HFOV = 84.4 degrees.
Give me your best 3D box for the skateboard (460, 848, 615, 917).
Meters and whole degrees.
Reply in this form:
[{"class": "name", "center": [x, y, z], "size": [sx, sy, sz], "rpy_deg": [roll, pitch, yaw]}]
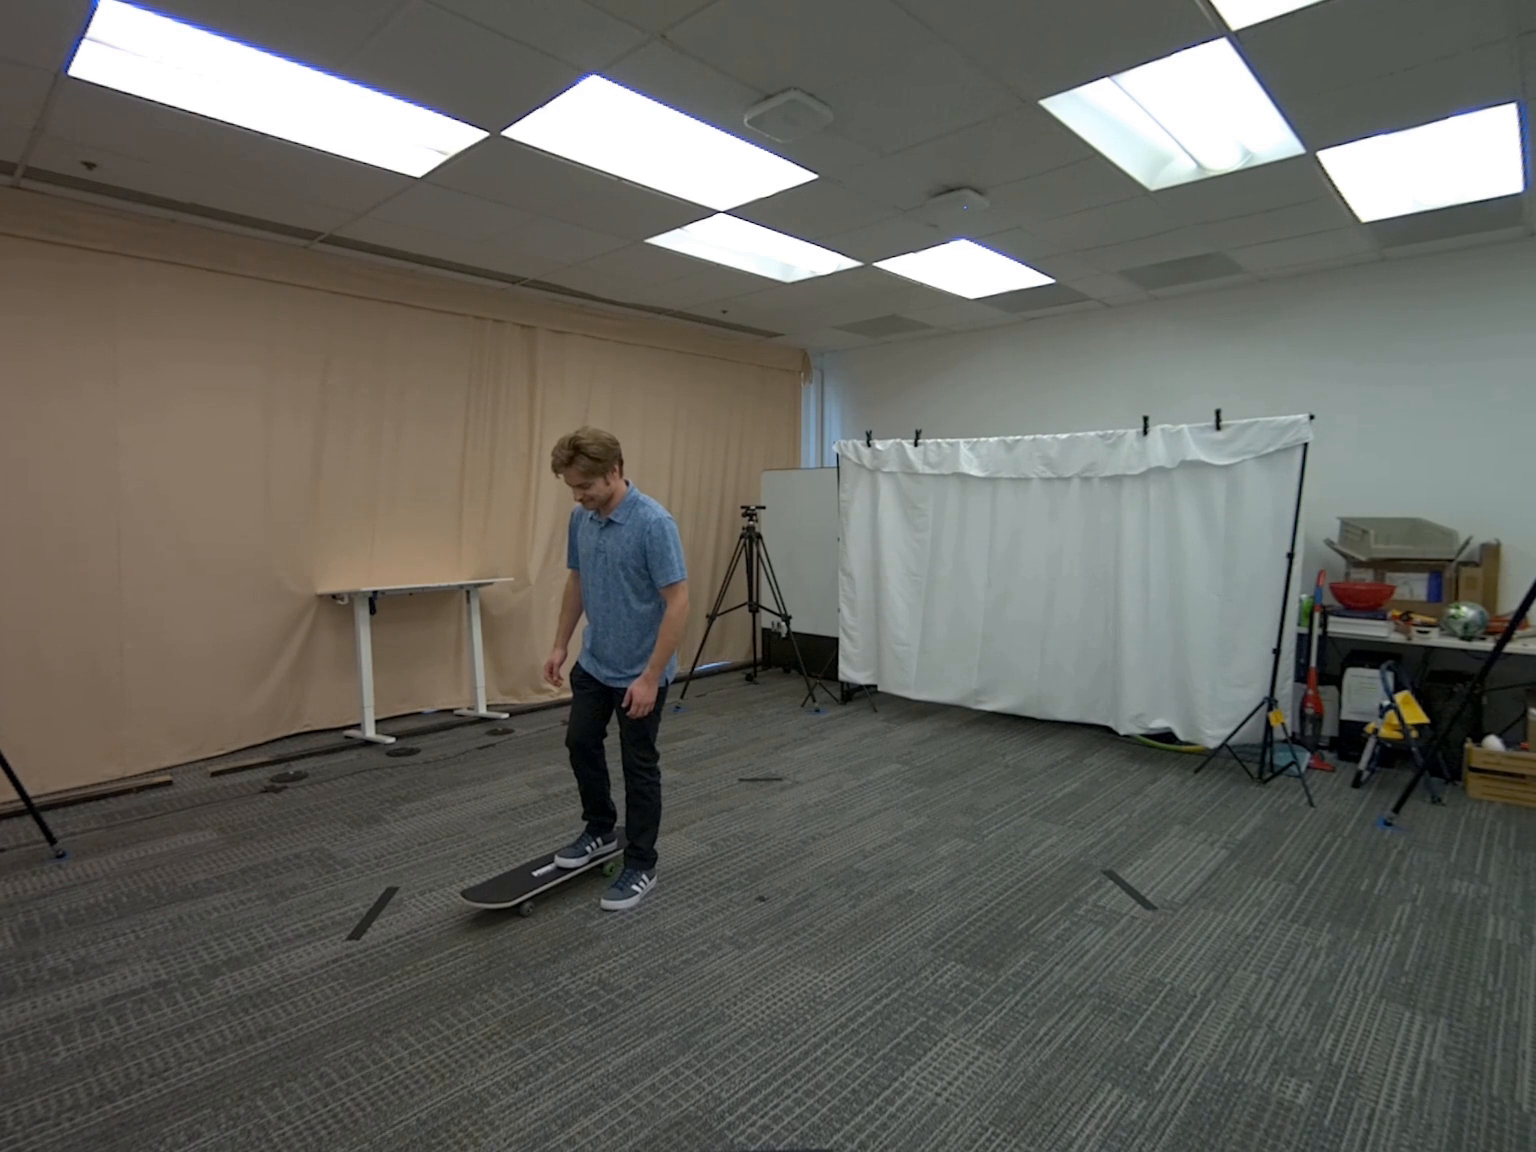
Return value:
[{"class": "skateboard", "center": [-0.774, 1.087, 3.067], "size": [0.199, 0.110, 0.763], "rpy_deg": [4, 6, 34]}]
